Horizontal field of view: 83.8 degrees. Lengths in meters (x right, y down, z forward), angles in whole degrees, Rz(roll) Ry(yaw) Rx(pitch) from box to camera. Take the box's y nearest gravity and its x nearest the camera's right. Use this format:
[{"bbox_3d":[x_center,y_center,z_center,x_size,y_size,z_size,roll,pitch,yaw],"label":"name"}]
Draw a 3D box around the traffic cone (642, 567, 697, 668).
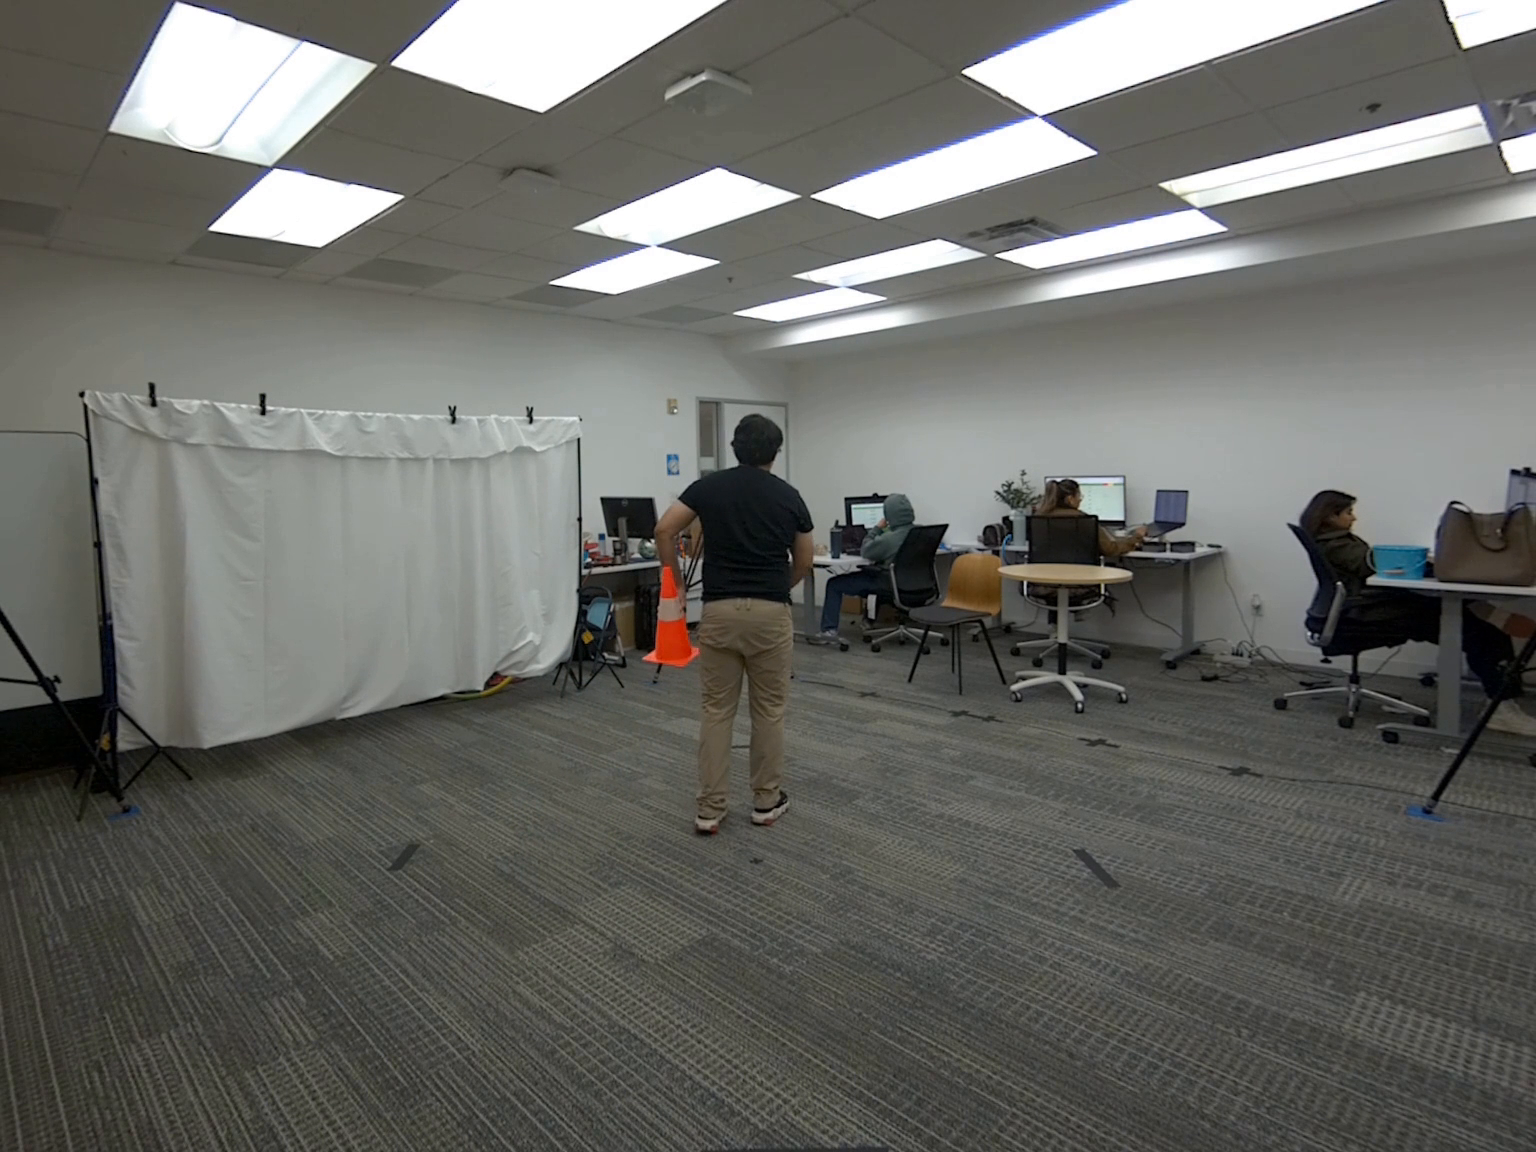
[{"bbox_3d":[-0.399,0.149,3.523,0.211,0.380,0.199,5,14,43],"label":"traffic cone"}]
